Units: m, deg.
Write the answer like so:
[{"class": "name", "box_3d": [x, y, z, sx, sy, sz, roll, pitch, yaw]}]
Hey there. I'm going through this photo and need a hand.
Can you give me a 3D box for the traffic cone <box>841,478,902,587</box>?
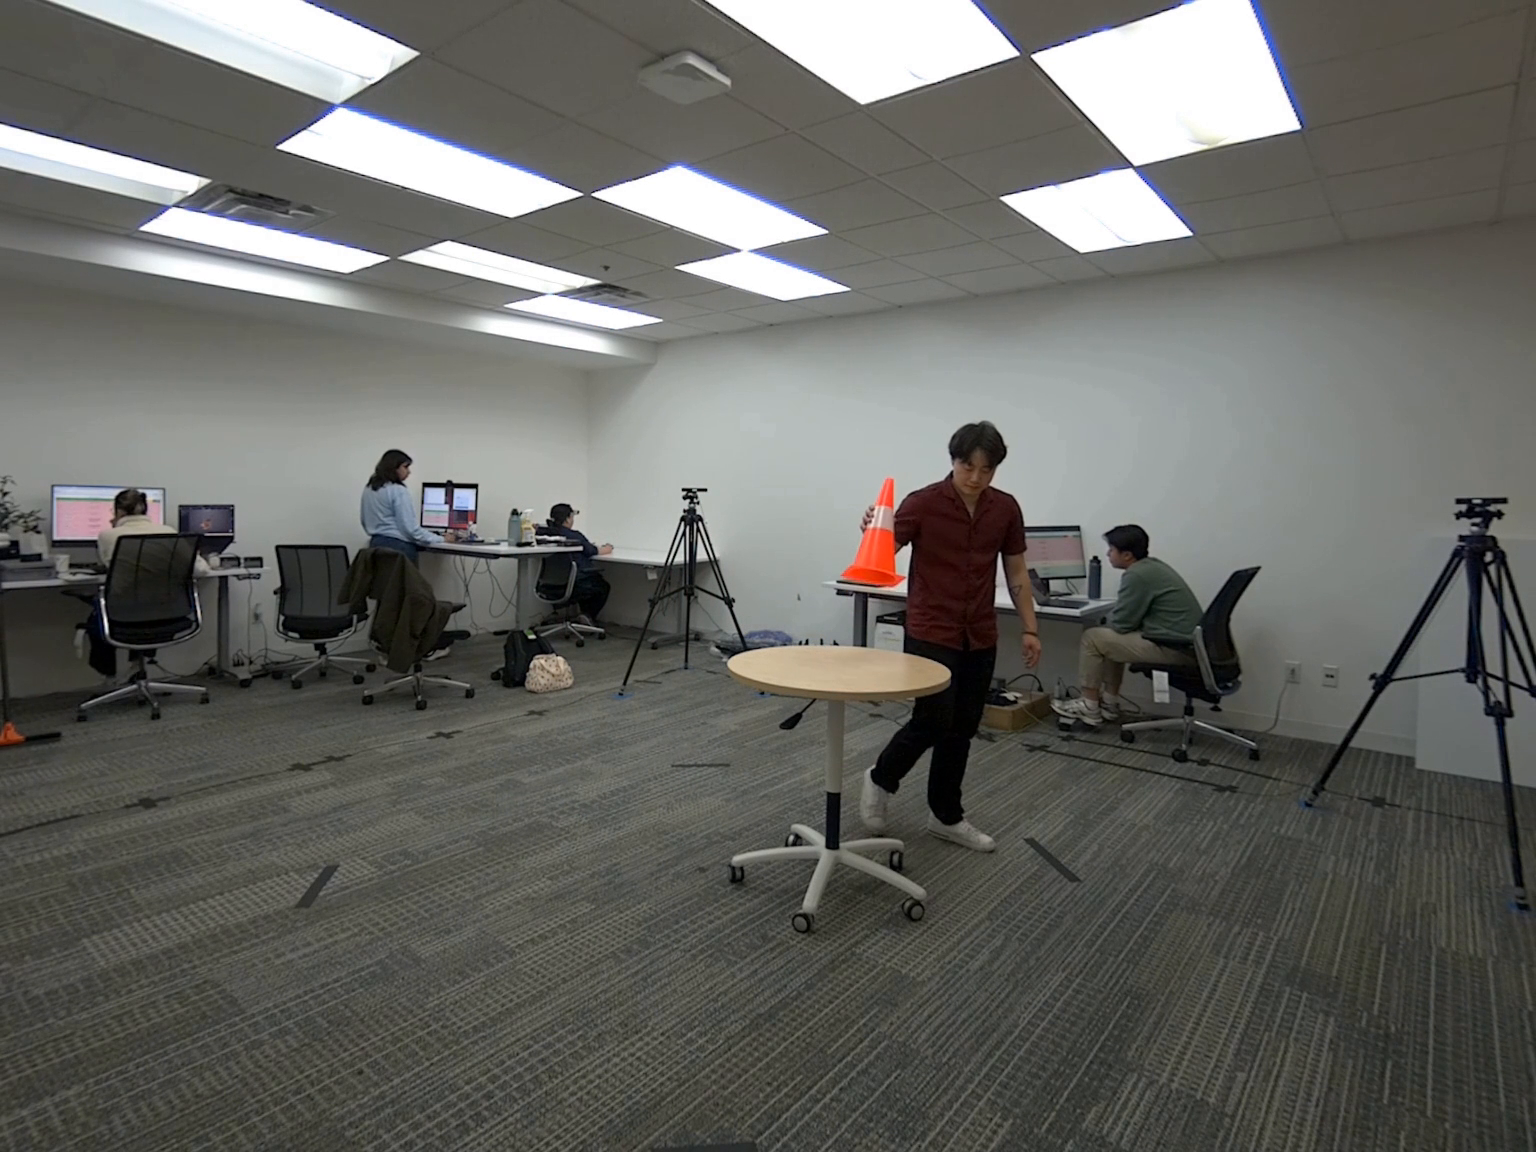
[{"class": "traffic cone", "box_3d": [0.405, -0.170, 3.069, 0.208, 0.388, 0.198, 9, -15, 10]}]
